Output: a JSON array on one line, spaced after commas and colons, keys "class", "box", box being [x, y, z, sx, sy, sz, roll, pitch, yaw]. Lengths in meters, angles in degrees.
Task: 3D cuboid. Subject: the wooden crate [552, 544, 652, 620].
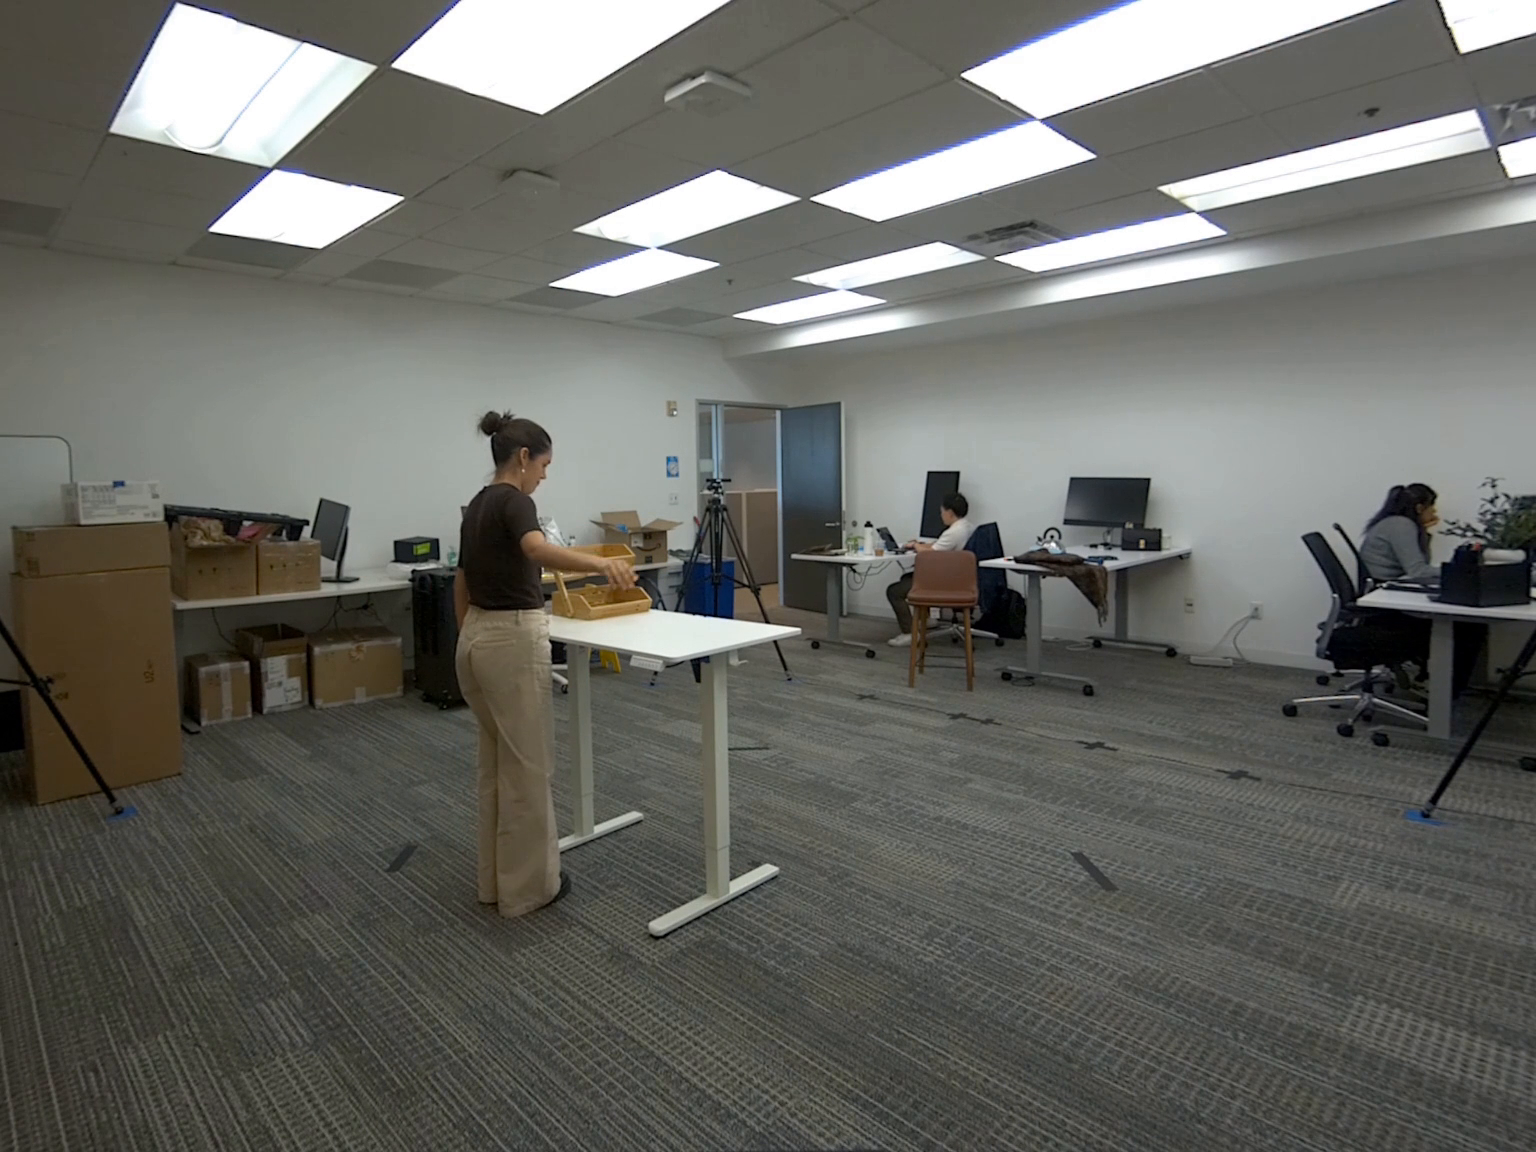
[{"class": "wooden crate", "box": [-0.669, 0.013, 3.369, 0.311, 0.272, 0.316, 2, 6, 43]}]
